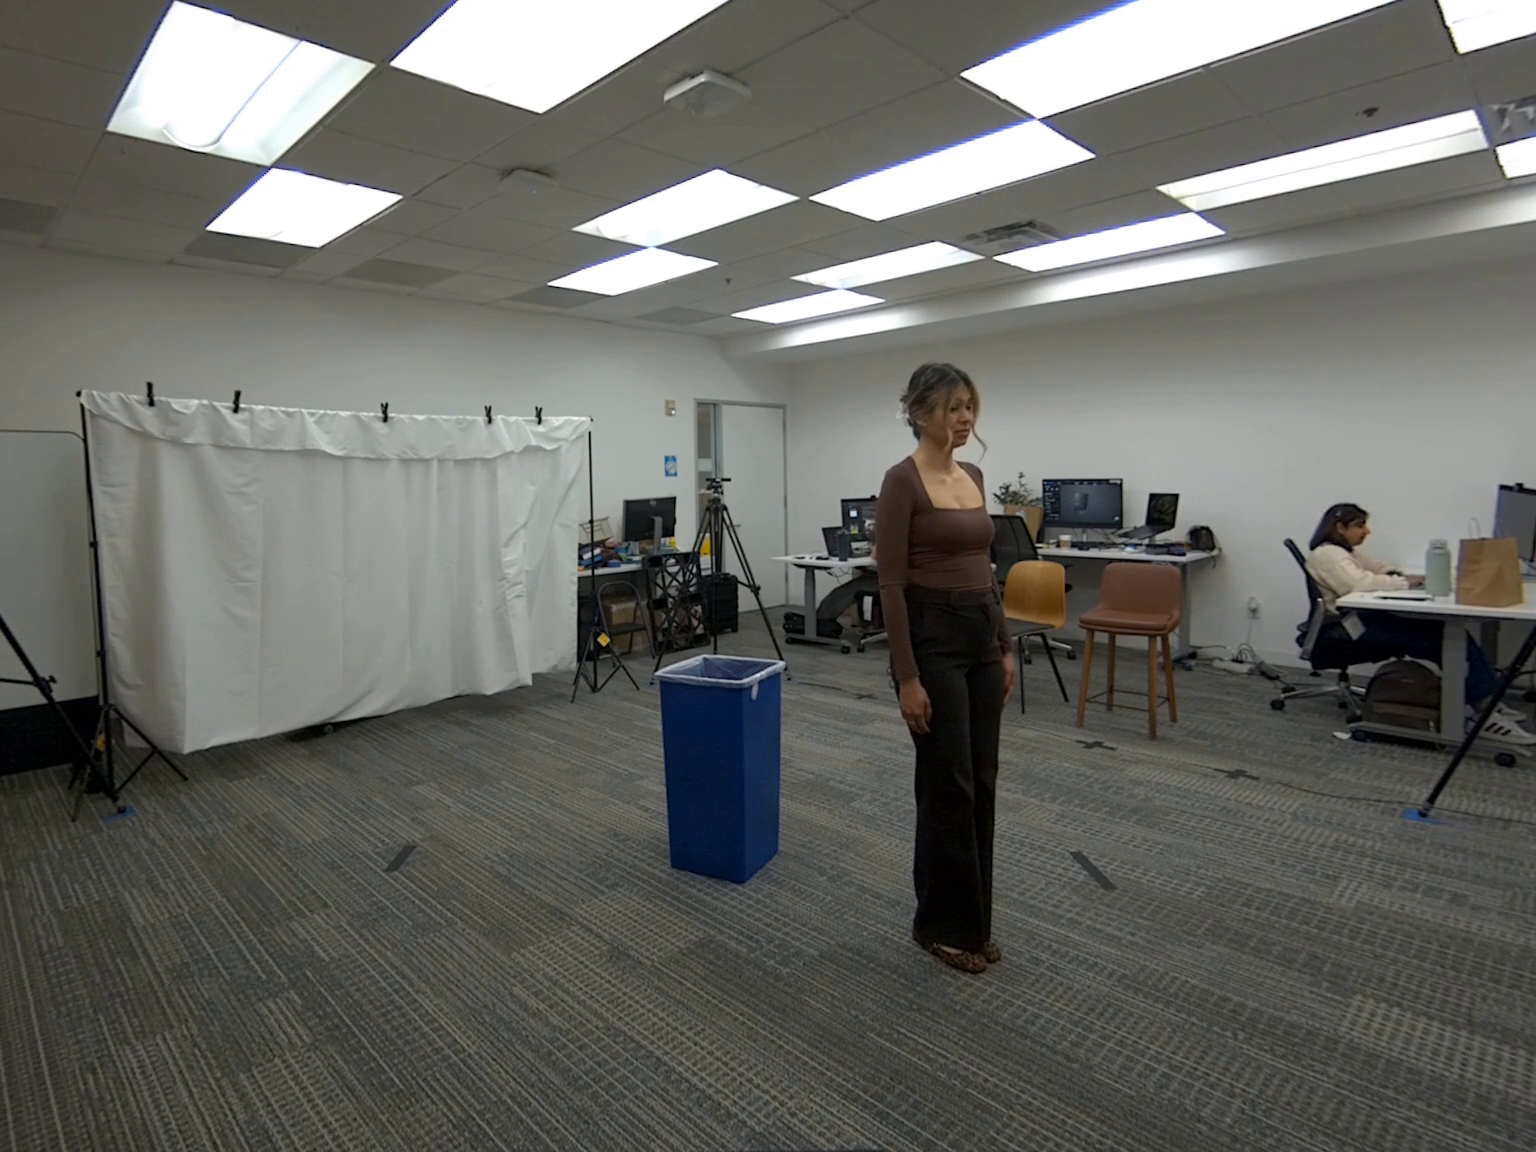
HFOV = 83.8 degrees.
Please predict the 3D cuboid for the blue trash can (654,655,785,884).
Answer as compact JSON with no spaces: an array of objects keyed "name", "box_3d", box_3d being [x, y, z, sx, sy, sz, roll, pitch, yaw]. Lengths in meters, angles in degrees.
[{"name":"blue trash can","box_3d":[-0.165,0.682,3.120,0.383,0.711,0.370,2,4,27]}]
